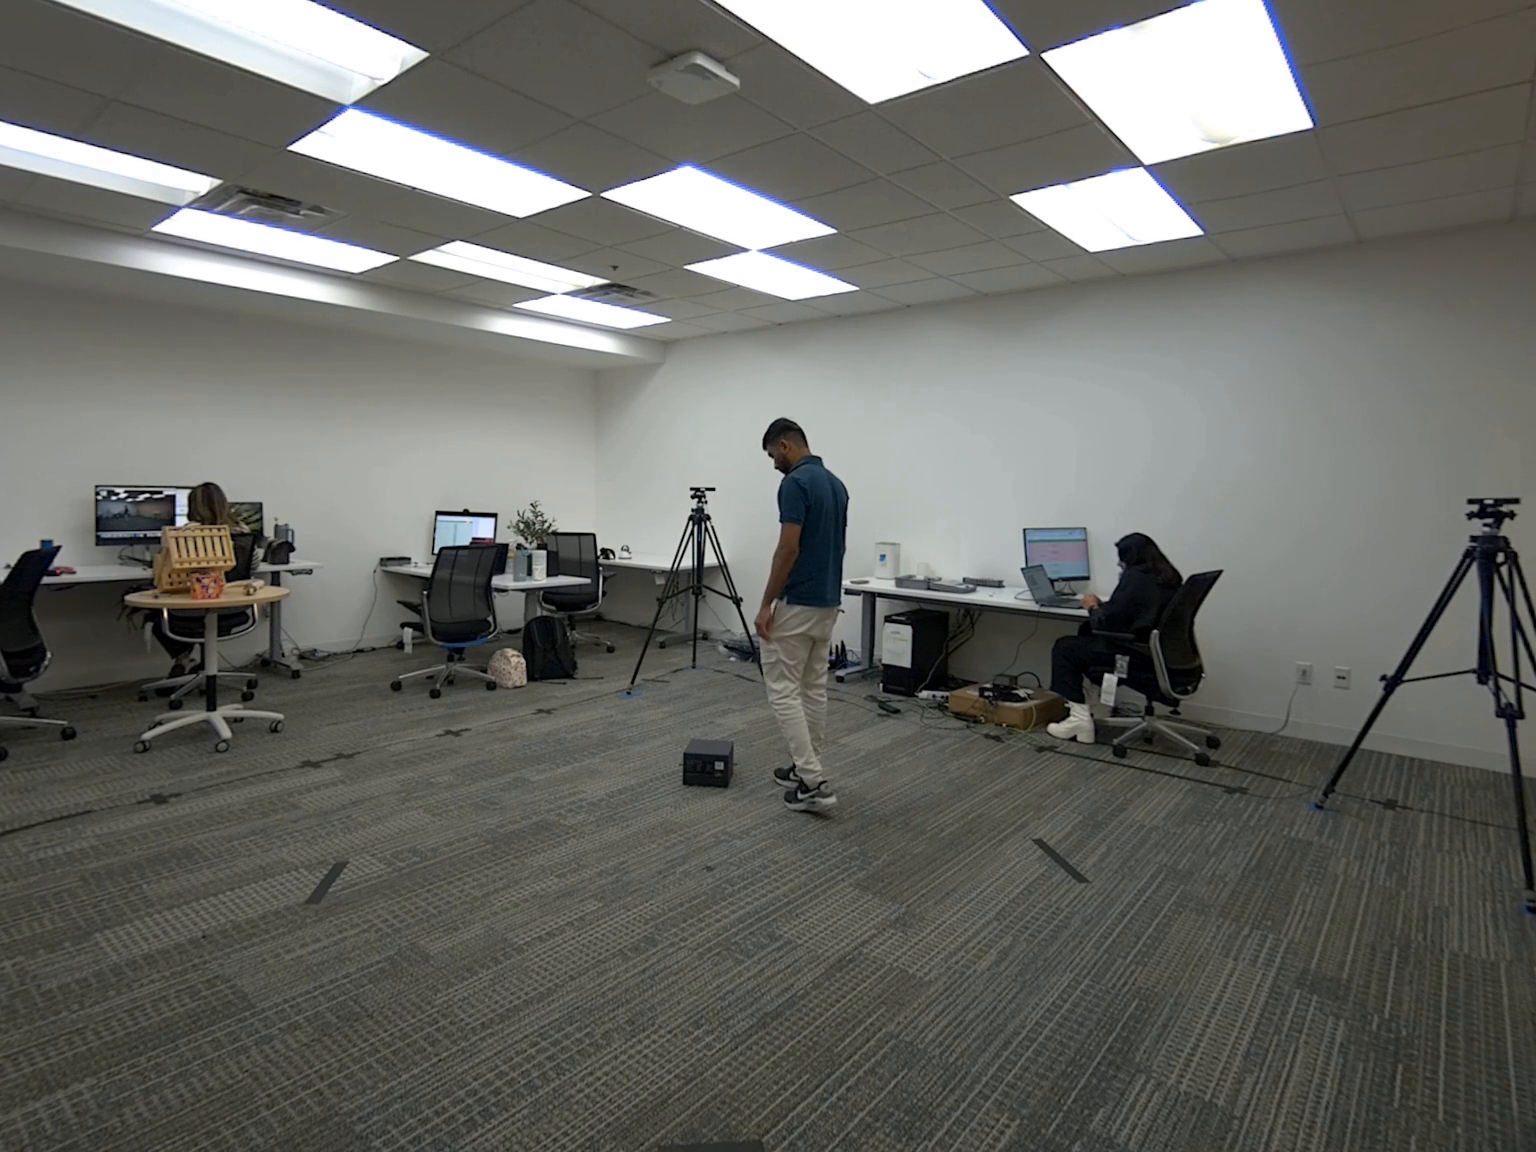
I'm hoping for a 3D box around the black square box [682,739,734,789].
[{"bbox_3d":[-0.294,0.886,4.078,0.218,0.155,0.227,1,5,5],"label":"black square box"}]
